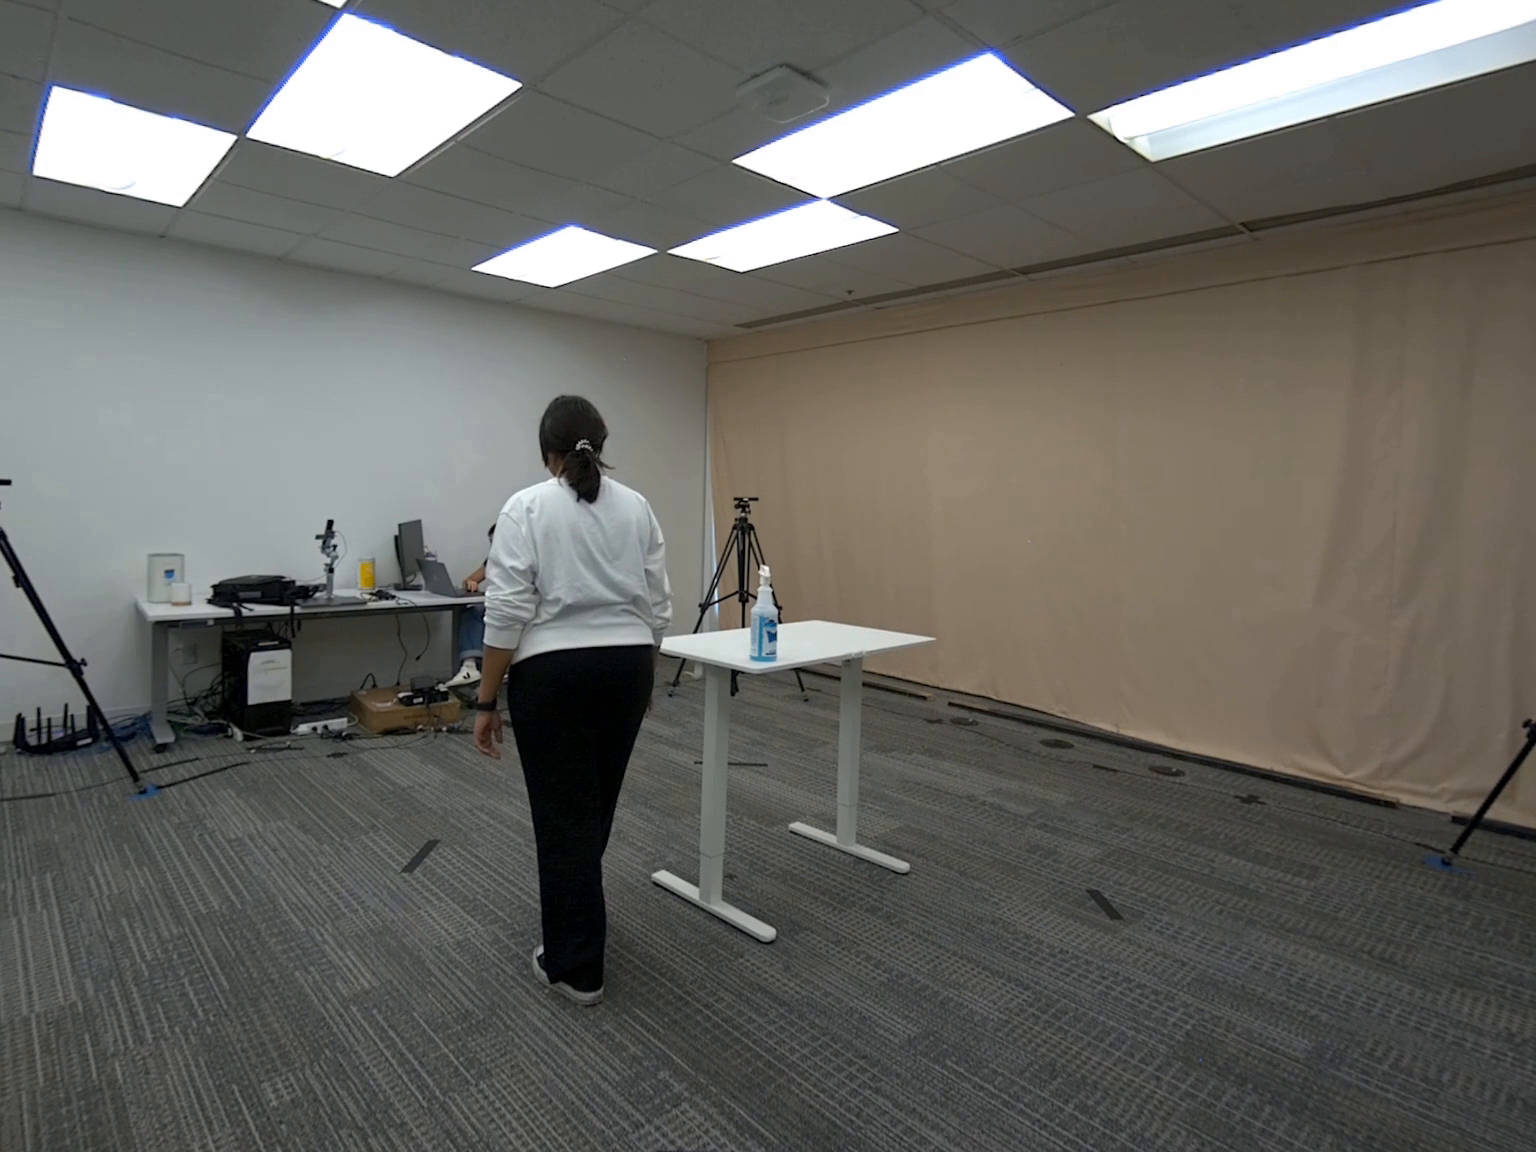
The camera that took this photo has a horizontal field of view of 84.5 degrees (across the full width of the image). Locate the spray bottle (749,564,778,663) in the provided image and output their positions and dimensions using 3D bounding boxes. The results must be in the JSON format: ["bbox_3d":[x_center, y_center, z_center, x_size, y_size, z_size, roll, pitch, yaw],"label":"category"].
[{"bbox_3d":[-0.011,0.121,2.657,0.088,0.297,0.089,2,2,16],"label":"spray bottle"}]
